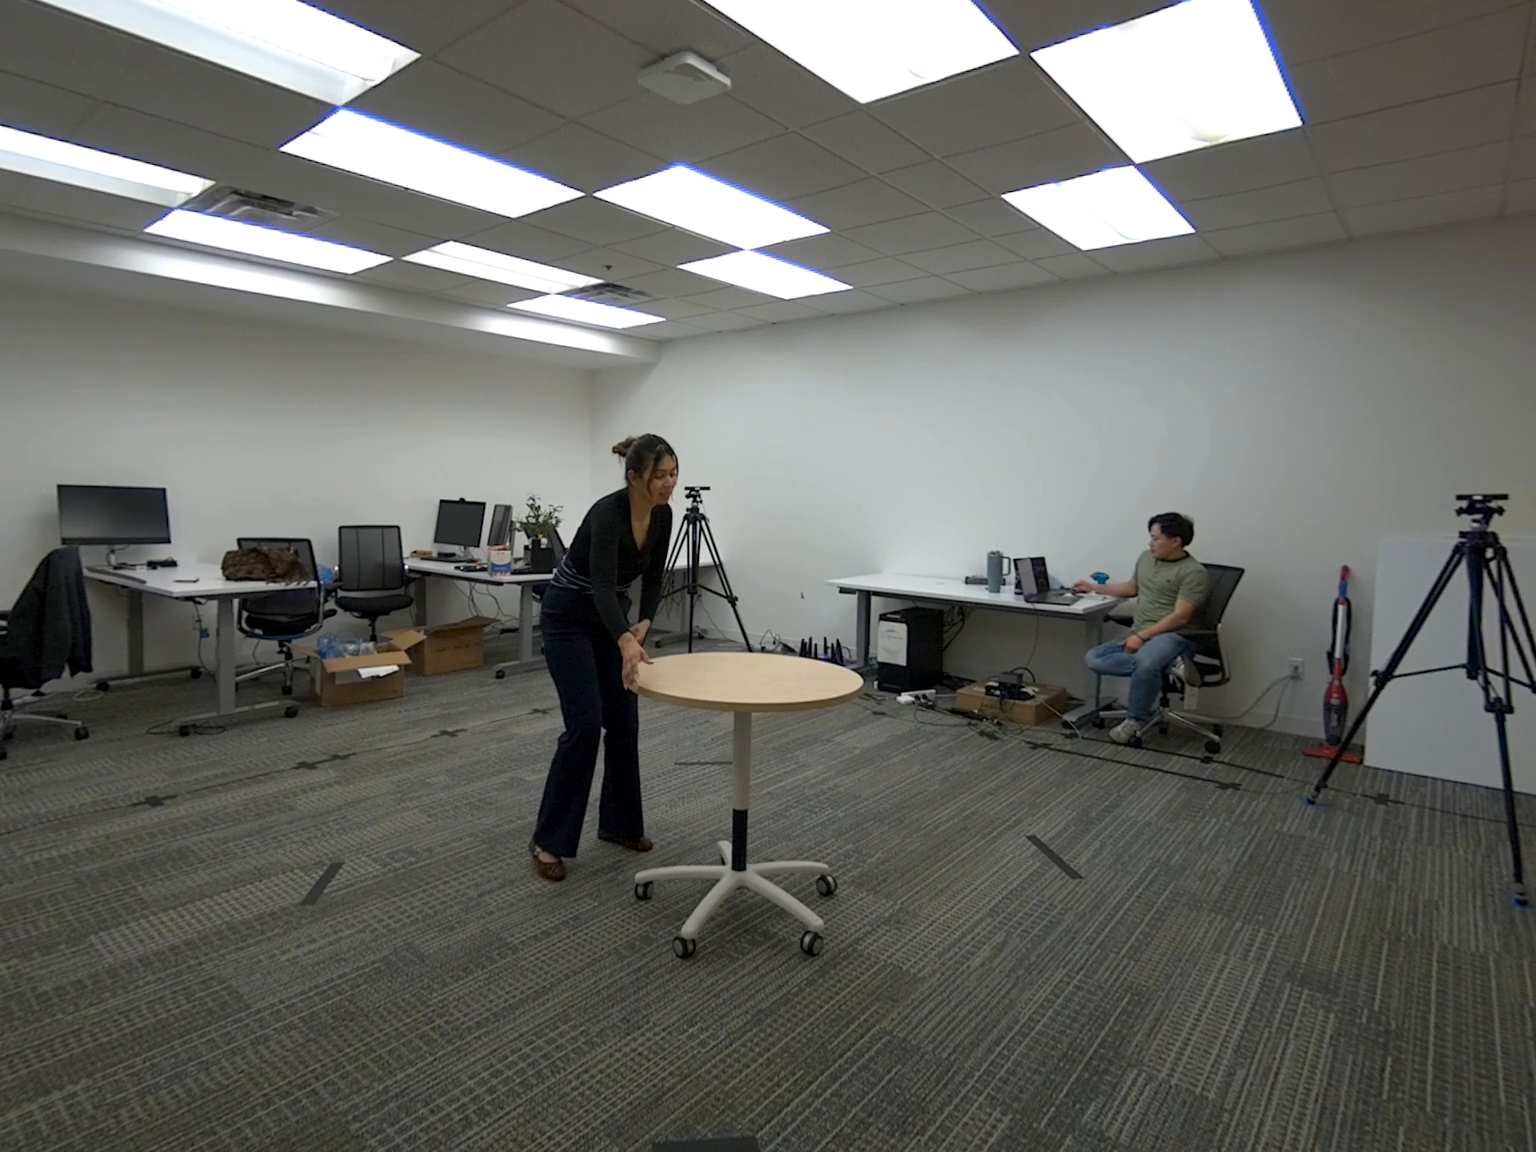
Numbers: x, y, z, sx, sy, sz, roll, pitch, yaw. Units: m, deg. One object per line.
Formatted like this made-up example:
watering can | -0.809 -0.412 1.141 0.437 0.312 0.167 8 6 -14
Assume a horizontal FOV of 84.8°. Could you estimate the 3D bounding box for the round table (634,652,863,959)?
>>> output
round table | -0.091 0.709 2.784 0.763 0.791 0.768 1 4 -2
